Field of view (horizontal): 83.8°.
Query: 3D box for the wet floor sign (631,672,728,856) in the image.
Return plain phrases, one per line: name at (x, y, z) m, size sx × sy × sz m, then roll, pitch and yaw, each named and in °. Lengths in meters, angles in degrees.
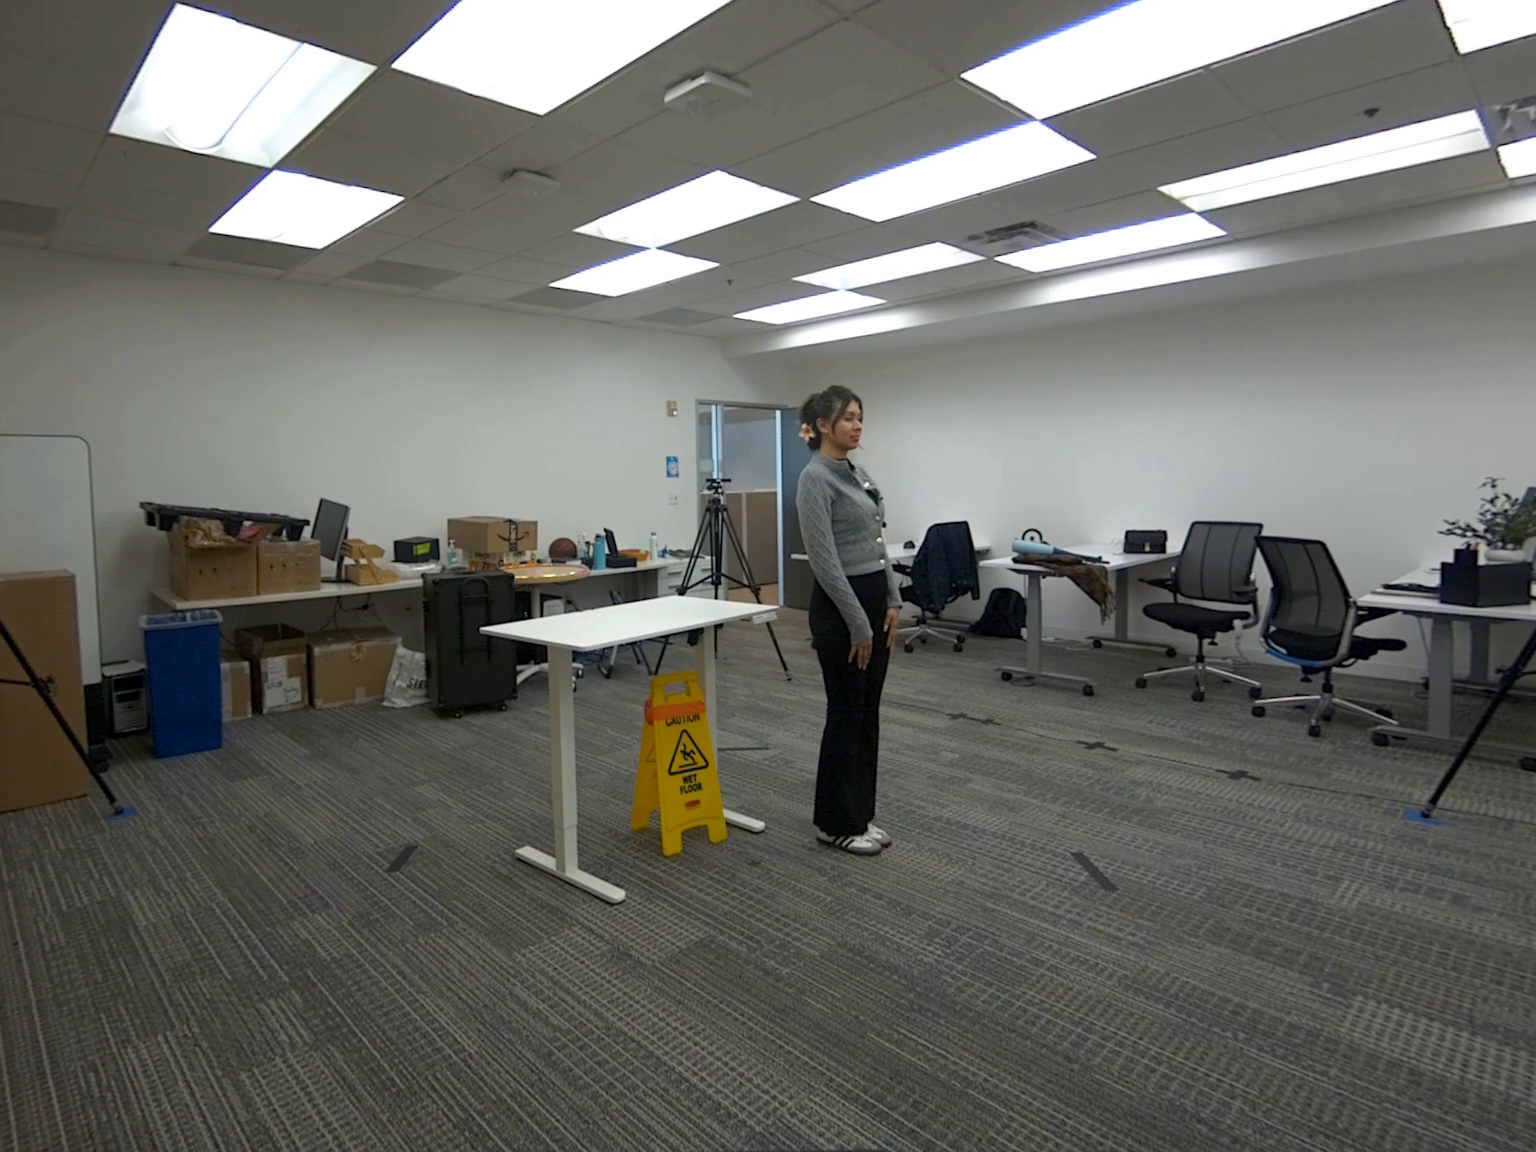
wet floor sign at (-0.362, 0.699, 3.350) m, size 0.275 × 0.644 × 0.298 m, roll -3°, pitch 3°, yaw -33°
